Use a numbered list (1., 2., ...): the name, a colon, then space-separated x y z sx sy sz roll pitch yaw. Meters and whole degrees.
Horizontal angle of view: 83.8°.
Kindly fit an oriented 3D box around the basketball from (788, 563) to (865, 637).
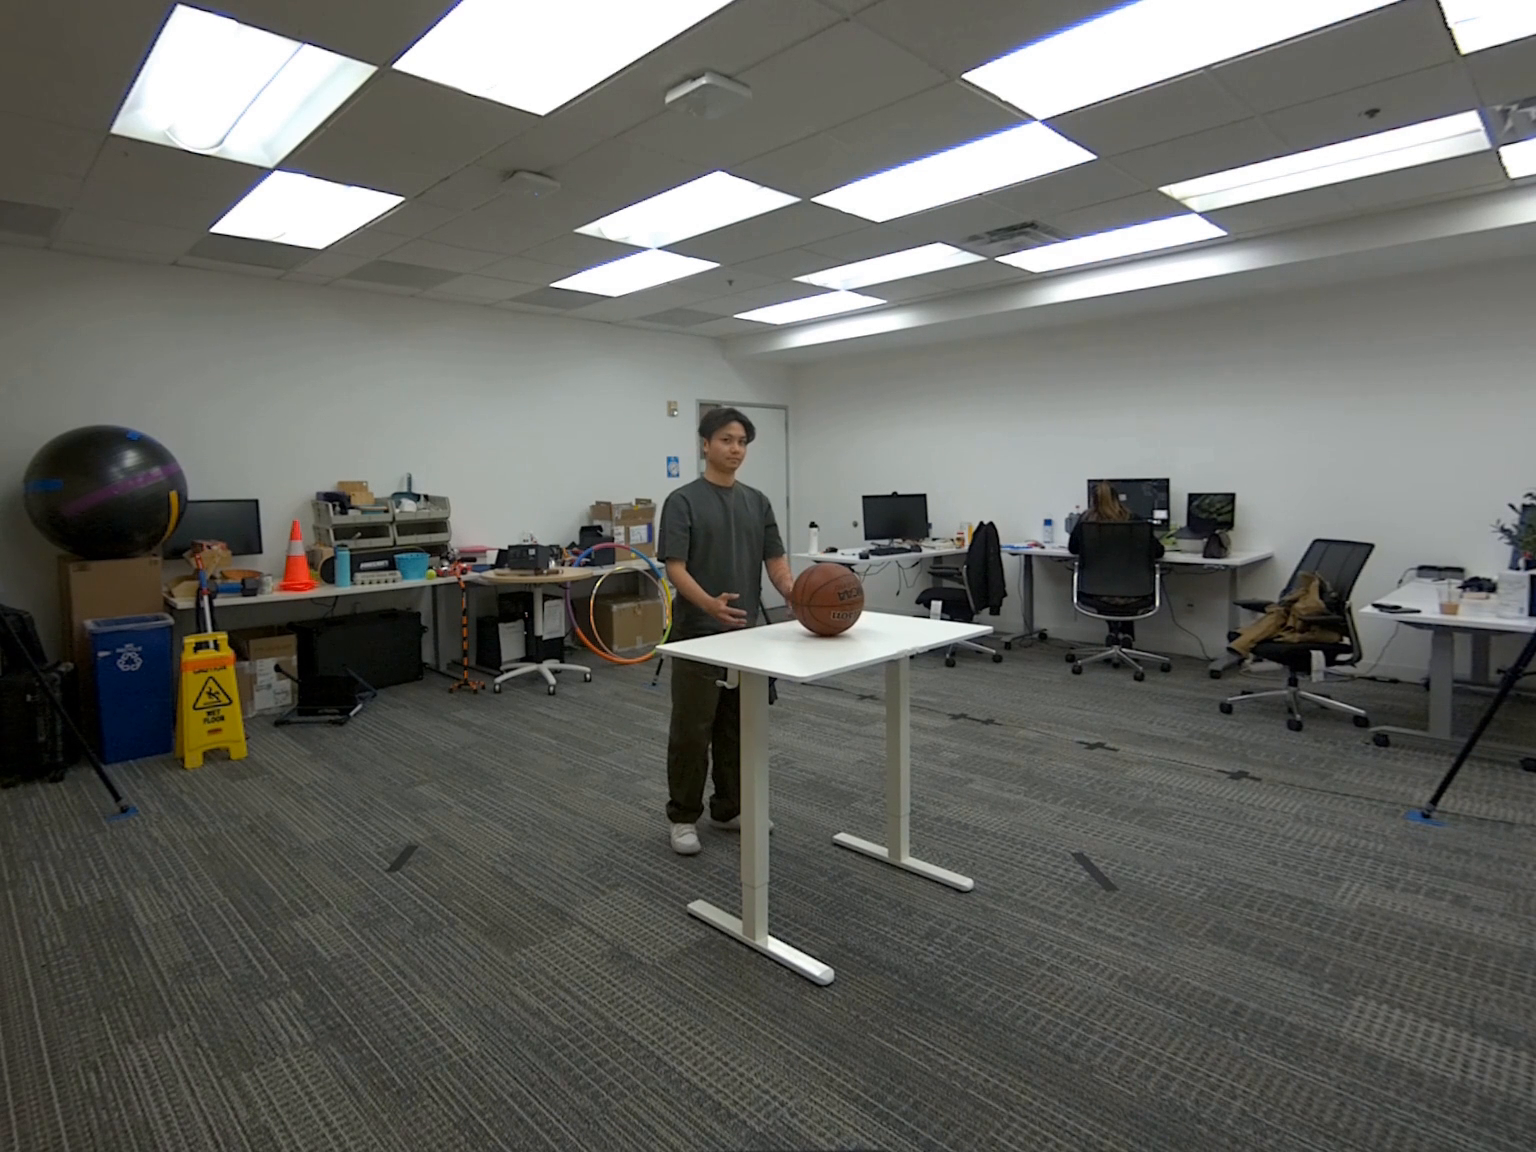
1. basketball: 0.195 0.075 2.795 0.236 0.235 0.237 -1 5 -2
